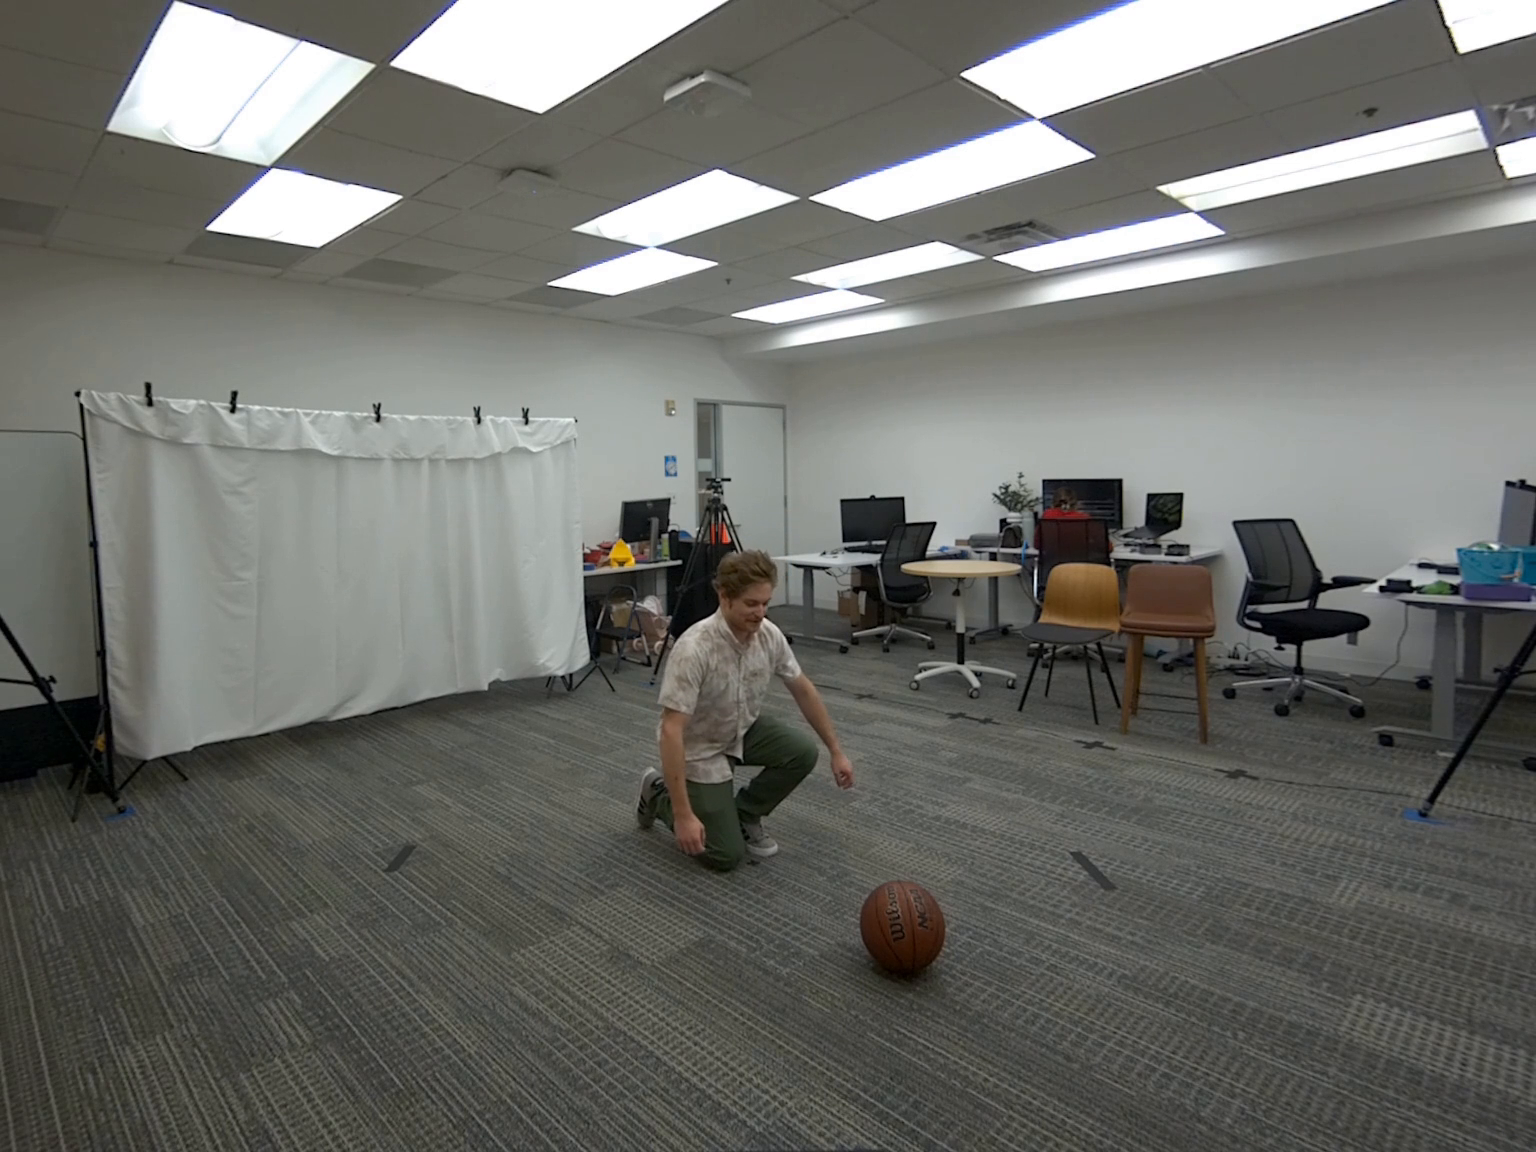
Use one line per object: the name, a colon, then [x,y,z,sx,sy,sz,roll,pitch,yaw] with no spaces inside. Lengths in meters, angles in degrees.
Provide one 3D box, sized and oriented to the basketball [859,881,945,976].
basketball: [0.386,0.989,2.427,0.236,0.235,0.237,-1,5,-2]
